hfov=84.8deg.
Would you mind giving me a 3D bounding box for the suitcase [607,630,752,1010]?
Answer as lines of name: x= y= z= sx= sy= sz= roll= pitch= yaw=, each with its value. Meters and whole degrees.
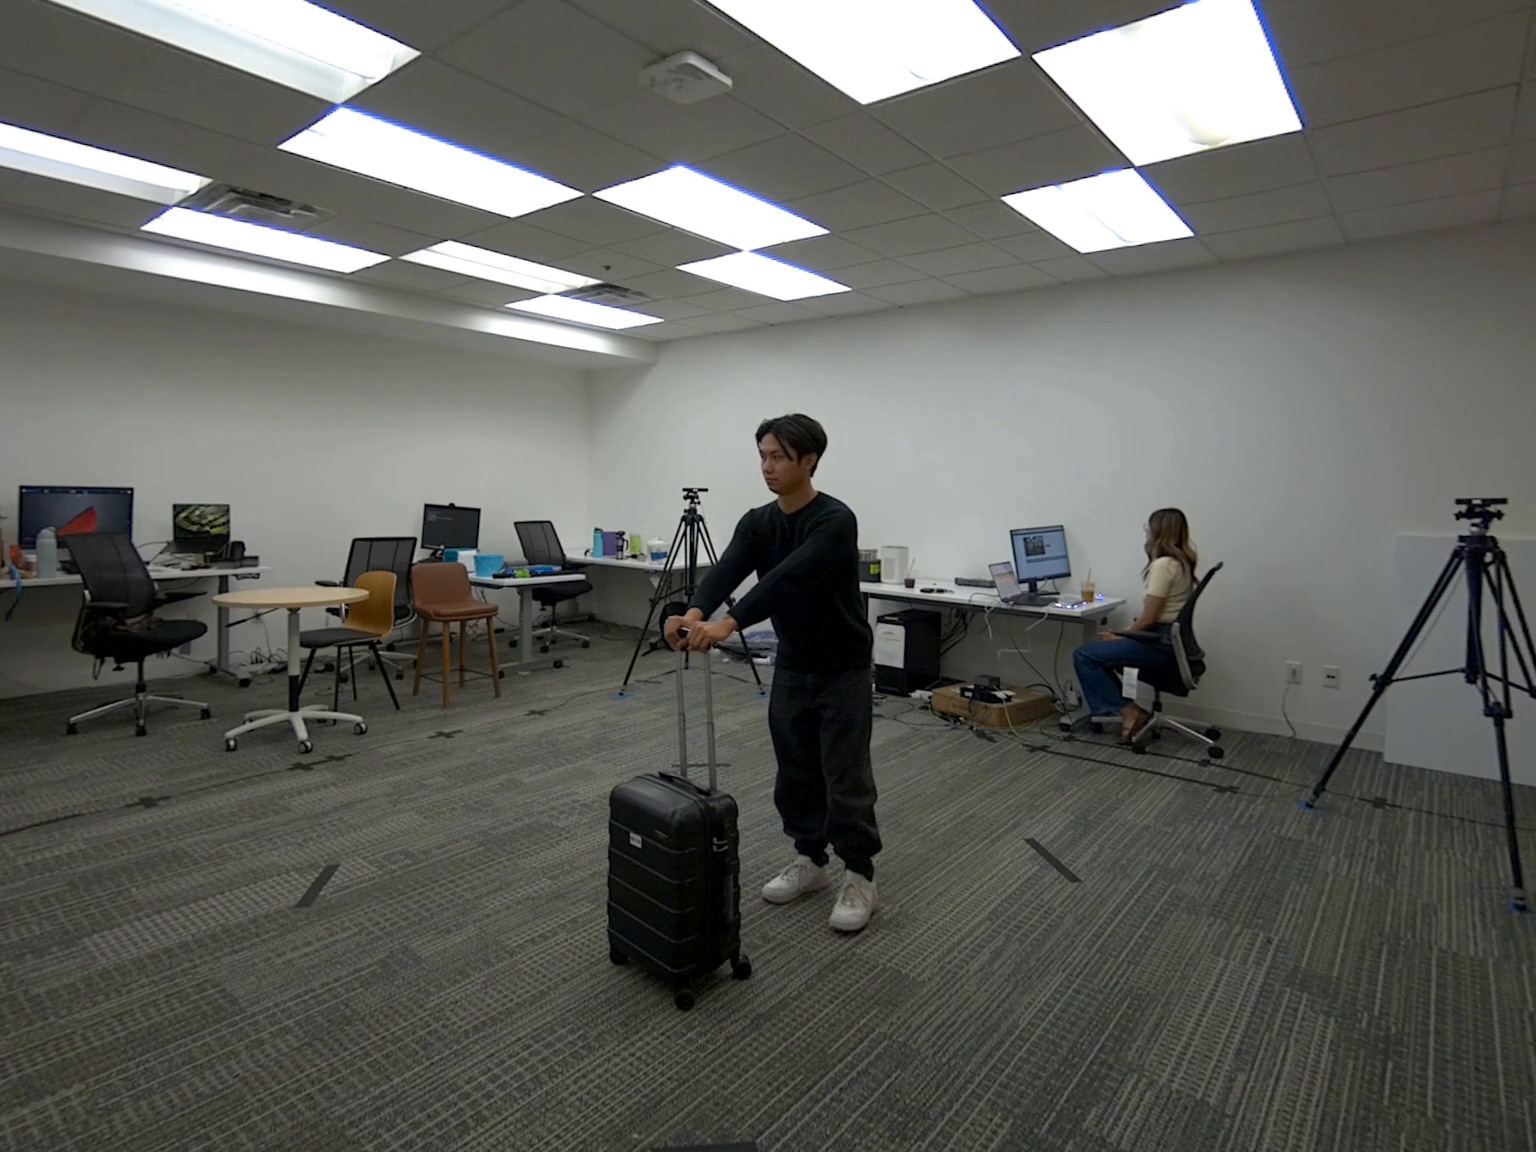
suitcase: x=-0.284 y=0.661 z=2.427 sx=0.250 sy=0.974 sz=0.397 roll=-5 pitch=6 yaw=-41
